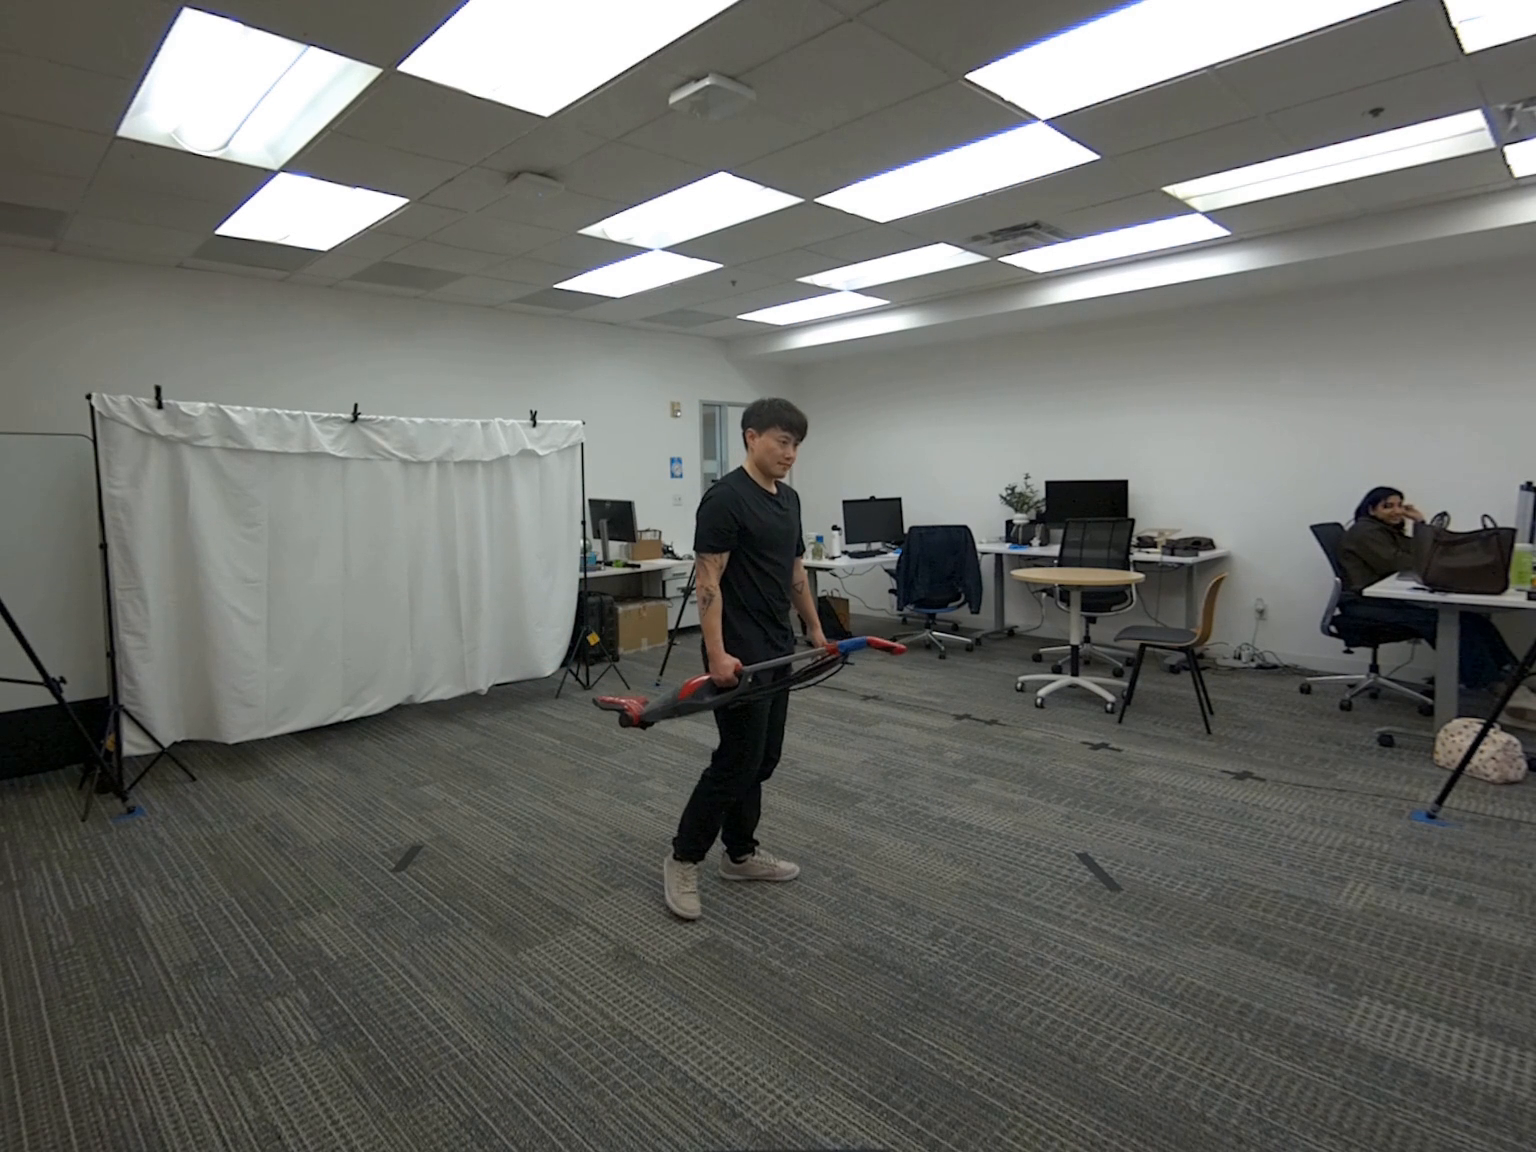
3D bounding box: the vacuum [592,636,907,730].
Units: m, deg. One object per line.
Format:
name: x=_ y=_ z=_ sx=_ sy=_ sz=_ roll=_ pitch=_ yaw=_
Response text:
vacuum: x=-0.062 y=0.338 z=2.628 sx=1.067 sy=0.146 sz=0.244 roll=-18 pitch=-15 yaw=33
